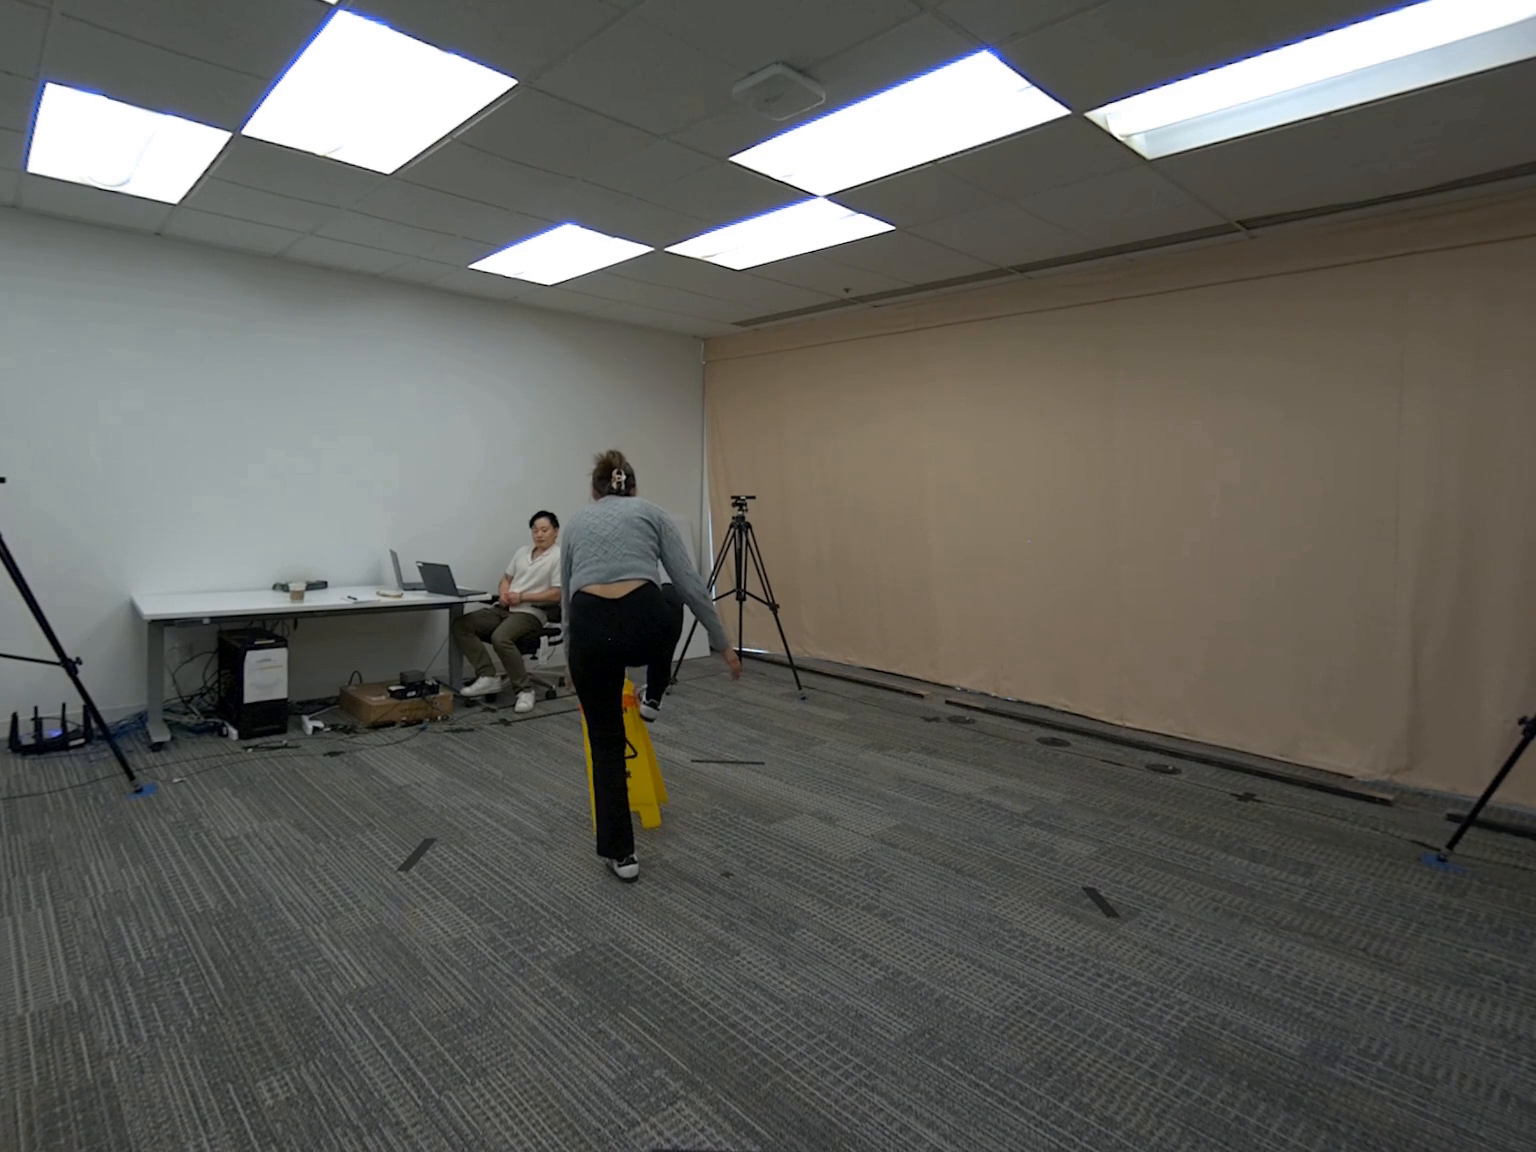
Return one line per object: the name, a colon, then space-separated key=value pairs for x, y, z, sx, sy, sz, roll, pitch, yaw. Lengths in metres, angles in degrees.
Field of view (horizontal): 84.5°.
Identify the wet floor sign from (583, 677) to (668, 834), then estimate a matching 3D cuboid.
wet floor sign: x=-0.639 y=0.717 z=3.554 sx=0.283 sy=0.645 sz=0.290 roll=-11 pitch=2 yaw=2
